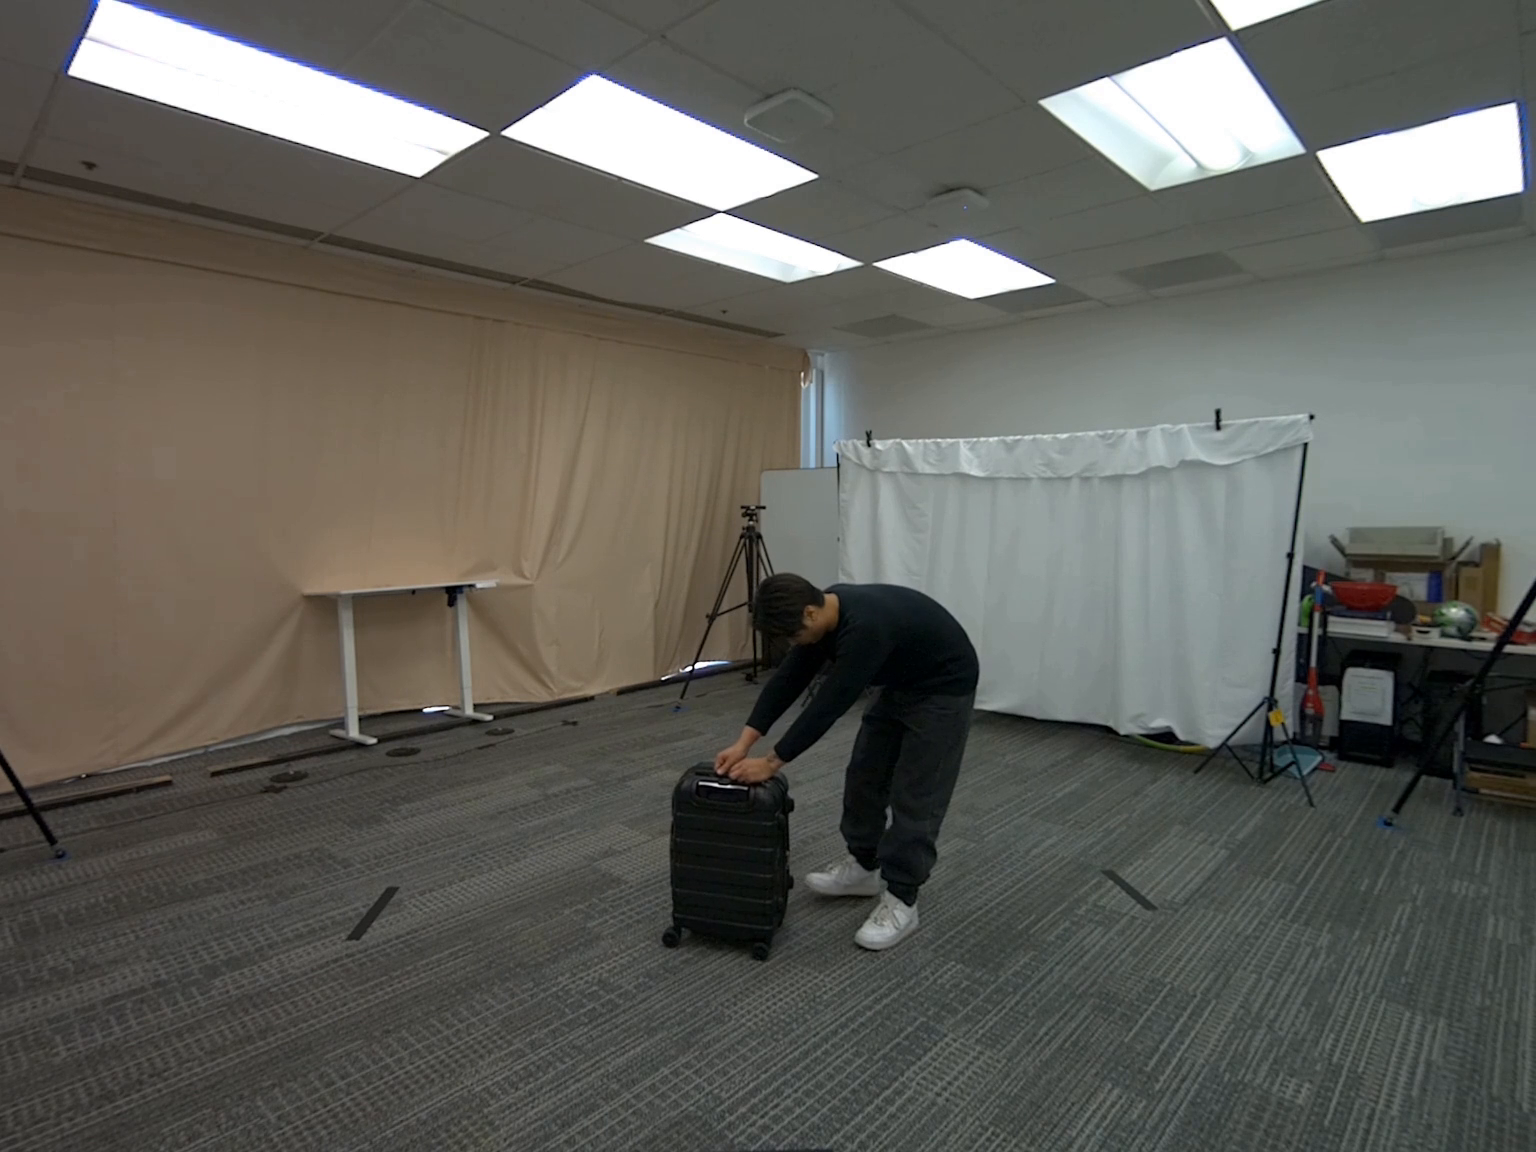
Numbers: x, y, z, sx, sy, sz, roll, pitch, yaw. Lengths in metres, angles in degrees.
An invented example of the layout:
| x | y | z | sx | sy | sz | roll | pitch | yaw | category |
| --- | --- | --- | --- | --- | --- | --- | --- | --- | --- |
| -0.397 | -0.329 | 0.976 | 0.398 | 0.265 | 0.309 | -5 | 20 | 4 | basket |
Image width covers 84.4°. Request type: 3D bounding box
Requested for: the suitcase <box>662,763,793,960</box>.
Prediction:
| x | y | z | sx | sy | sz | roll | pitch | yaw | category |
| --- | --- | --- | --- | --- | --- | --- | --- | --- | --- |
| -0.116 | 0.897 | 2.715 | 0.382 | 0.548 | 0.244 | 2 | 2 | 15 | suitcase |
